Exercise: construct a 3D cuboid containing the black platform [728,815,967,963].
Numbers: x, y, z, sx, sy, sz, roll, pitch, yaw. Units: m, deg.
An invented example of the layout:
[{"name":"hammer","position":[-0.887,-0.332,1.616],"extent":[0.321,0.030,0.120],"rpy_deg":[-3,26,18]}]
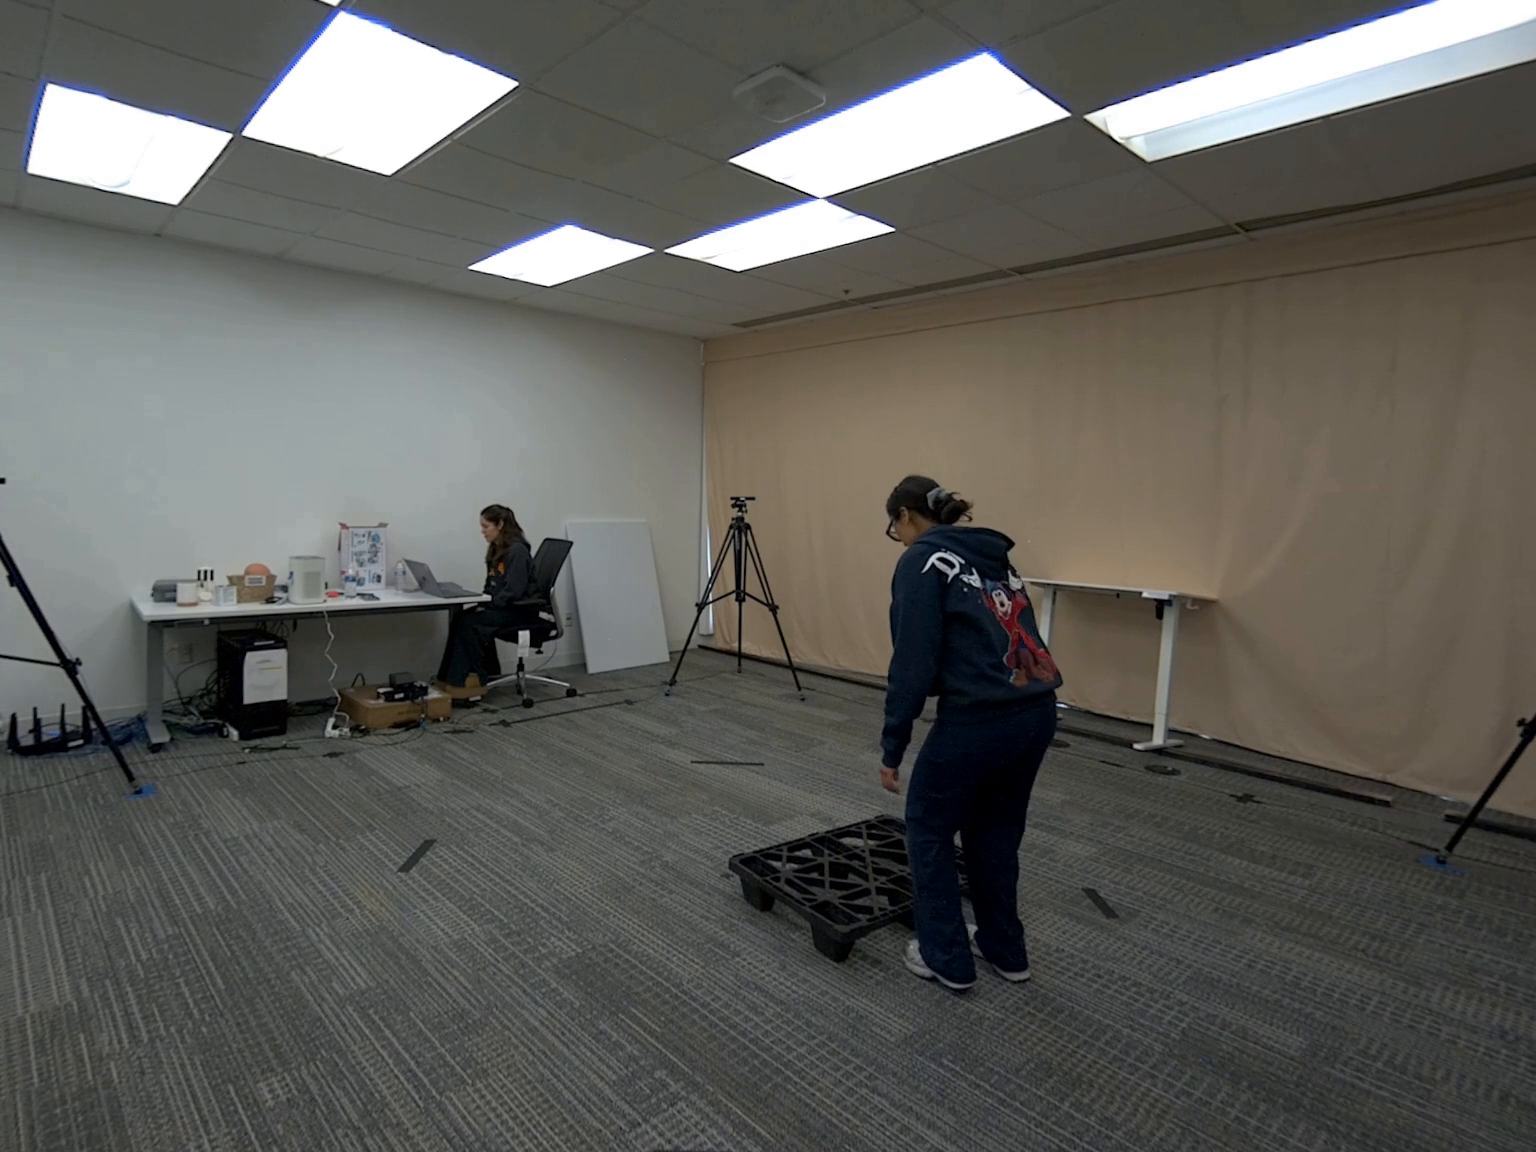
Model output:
[{"name":"black platform","position":[0.338,1.067,2.939],"extent":[0.788,0.143,0.620],"rpy_deg":[-2,6,-37]}]
